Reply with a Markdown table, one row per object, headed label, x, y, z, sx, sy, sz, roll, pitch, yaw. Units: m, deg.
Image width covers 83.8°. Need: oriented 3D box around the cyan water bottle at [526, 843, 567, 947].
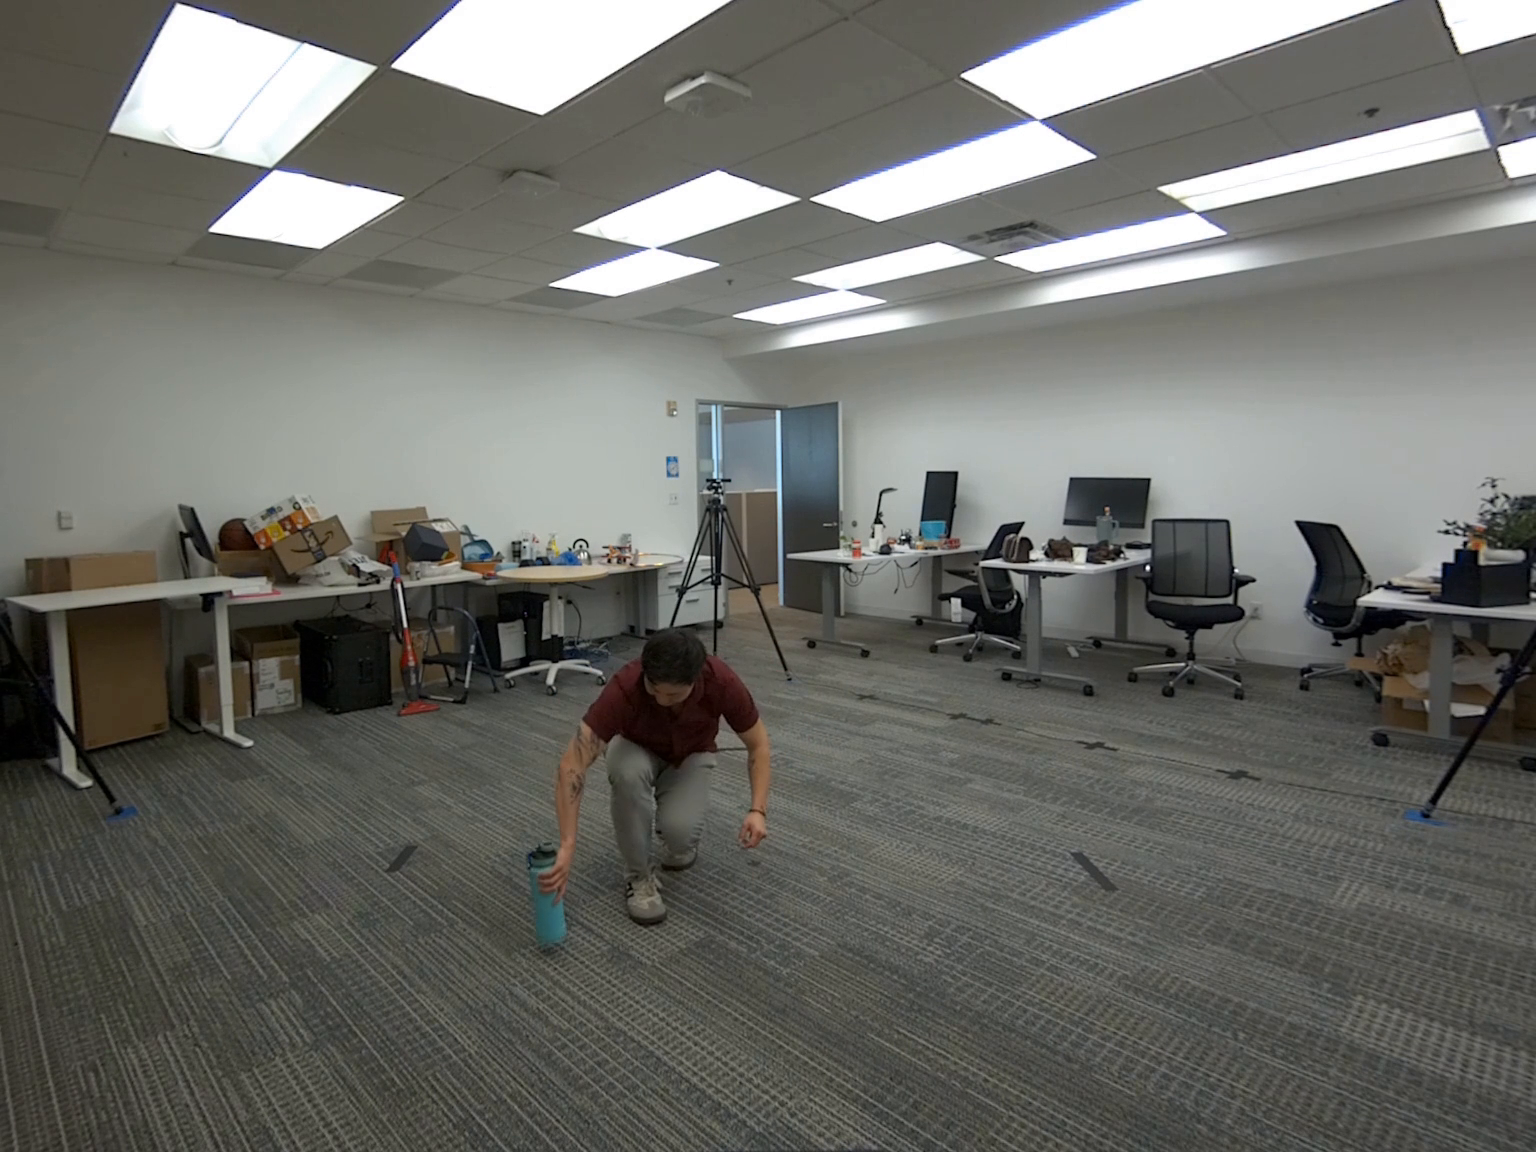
| label | x | y | z | sx | sy | sz | roll | pitch | yaw |
| --- | --- | --- | --- | --- | --- | --- | --- | --- | --- |
| cyan water bottle | -0.658 | 0.923 | 2.540 | 0.092 | 0.283 | 0.092 | -6 | 3 | -1 |
